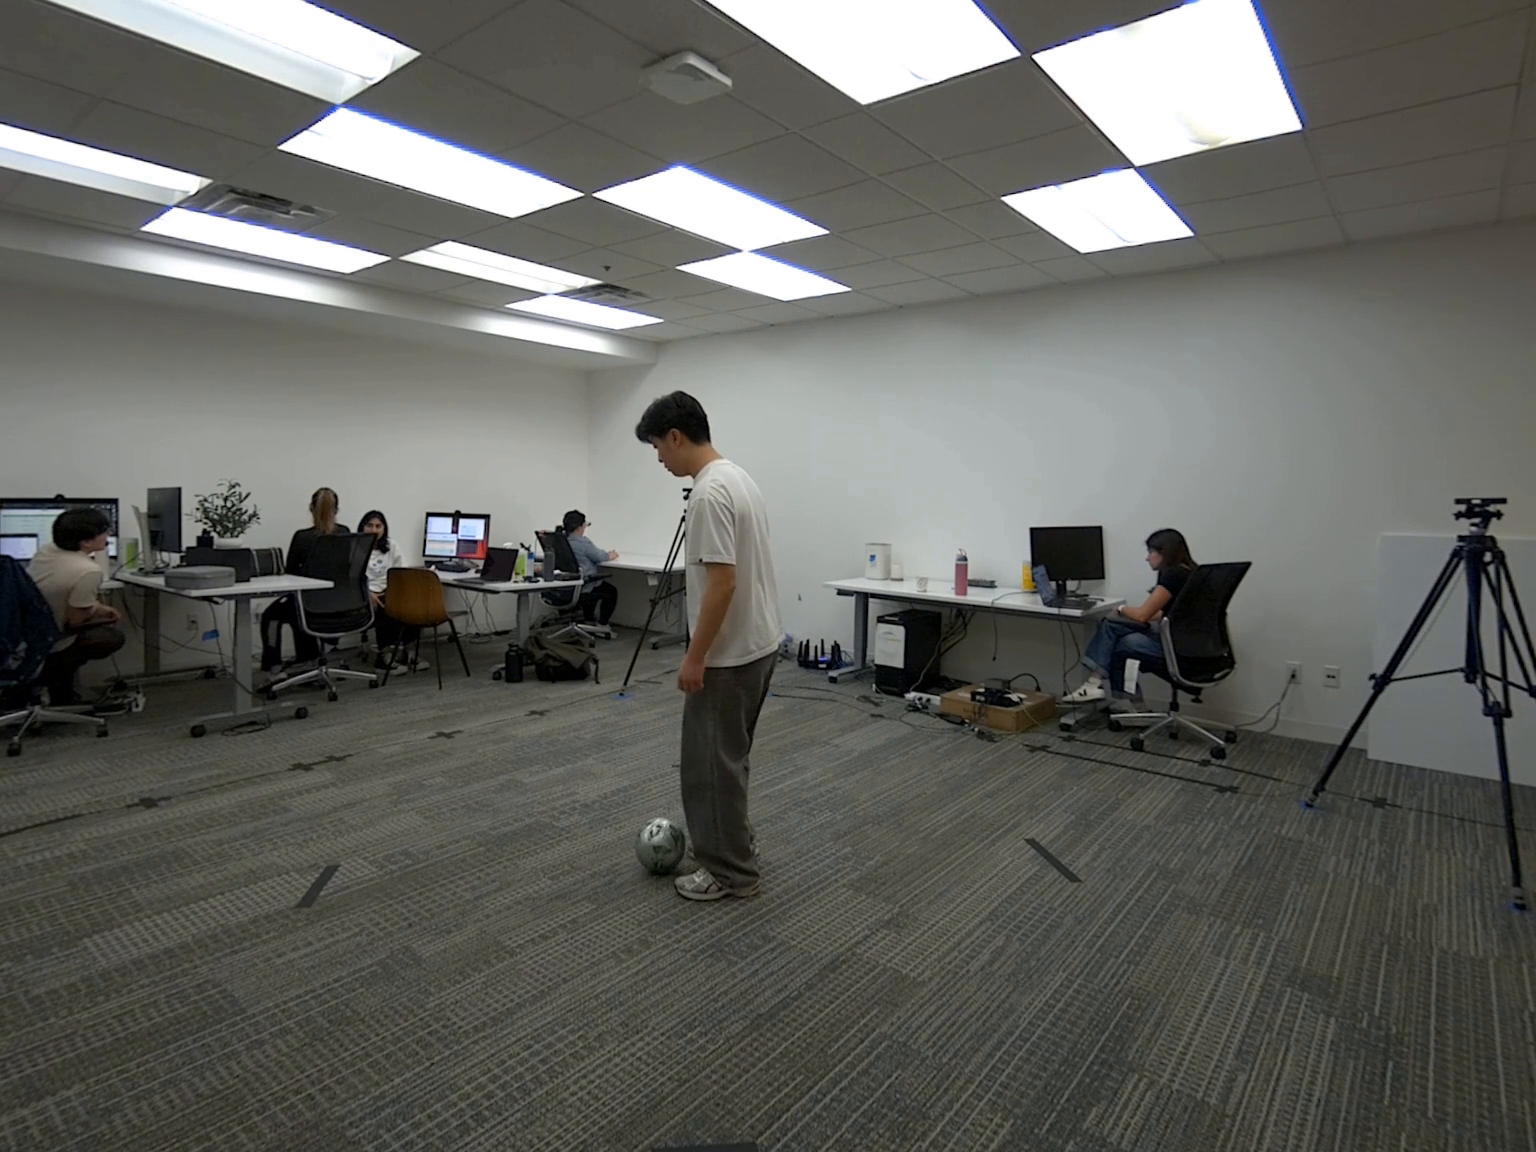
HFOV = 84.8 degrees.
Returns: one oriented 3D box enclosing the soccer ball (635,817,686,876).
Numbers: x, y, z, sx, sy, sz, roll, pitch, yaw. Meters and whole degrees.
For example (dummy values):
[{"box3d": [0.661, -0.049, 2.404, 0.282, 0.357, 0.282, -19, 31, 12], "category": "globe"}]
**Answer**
[{"box3d": [-0.388, 0.973, 3.098, 0.187, 0.187, 0.188, 1, 4, -2], "category": "soccer ball"}]
